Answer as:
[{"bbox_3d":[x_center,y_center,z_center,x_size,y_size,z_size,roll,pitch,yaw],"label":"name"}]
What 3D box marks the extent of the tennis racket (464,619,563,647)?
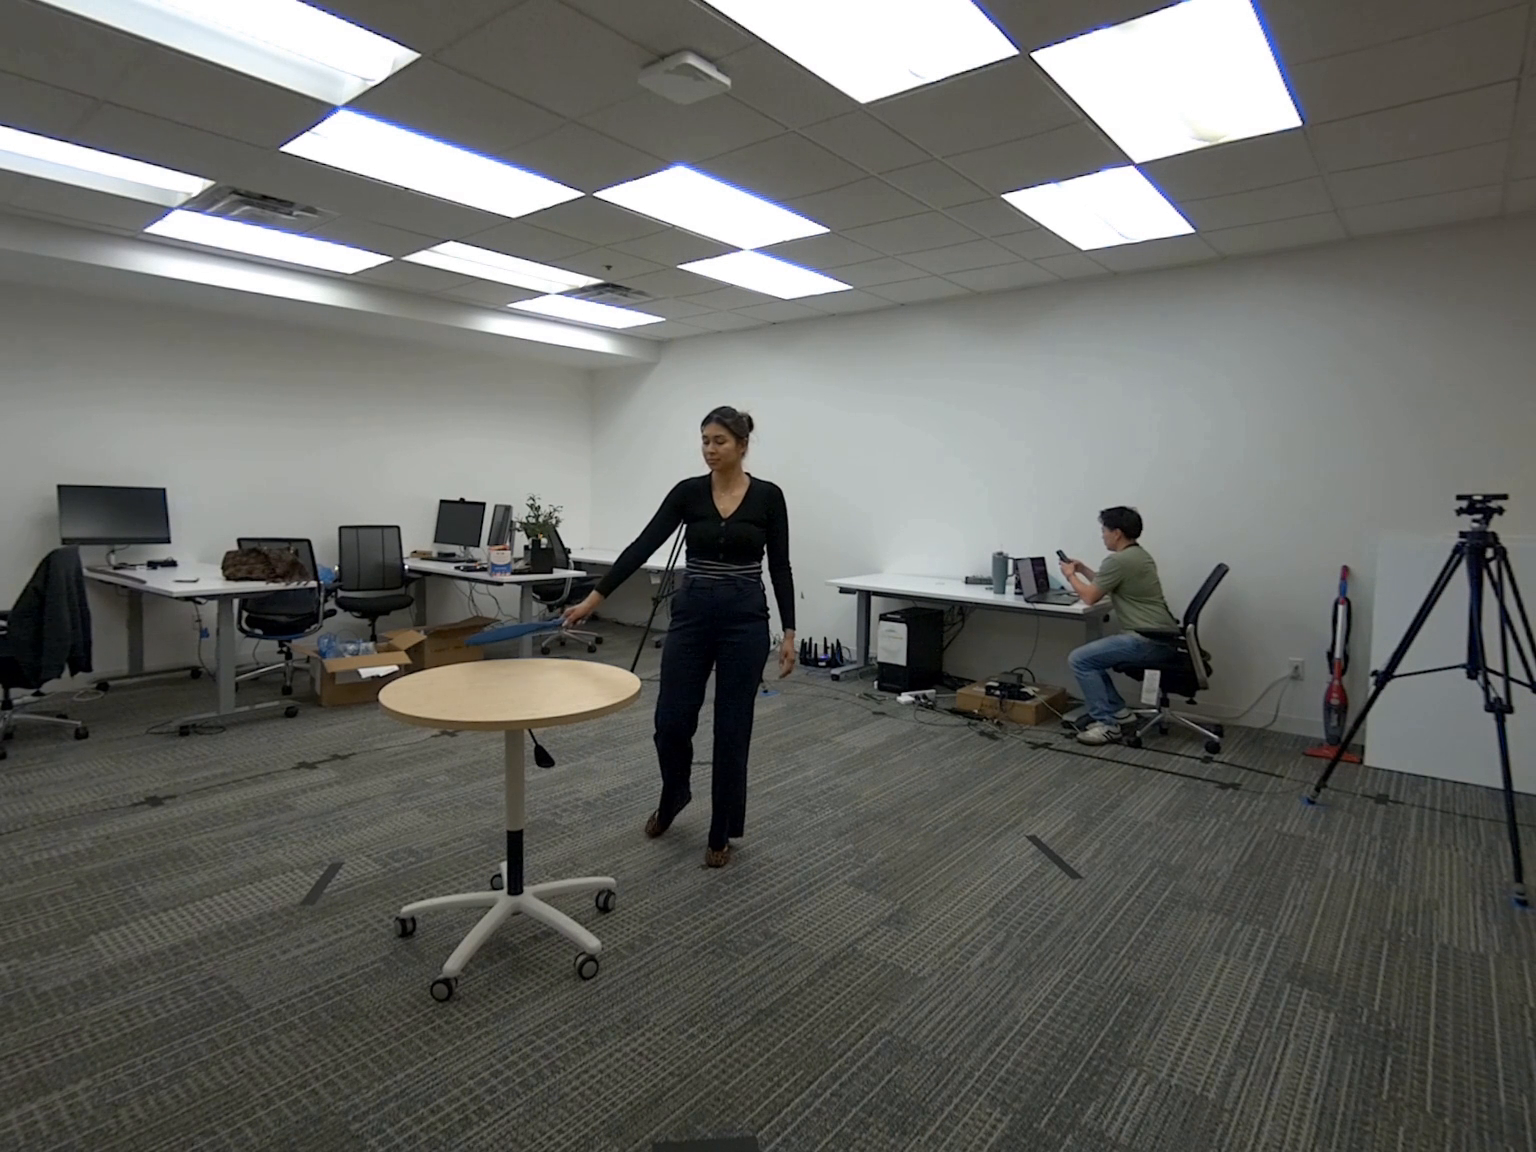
[{"bbox_3d":[-0.883,0.195,3.007,0.423,0.032,0.216,-8,-10,-28],"label":"tennis racket"}]
